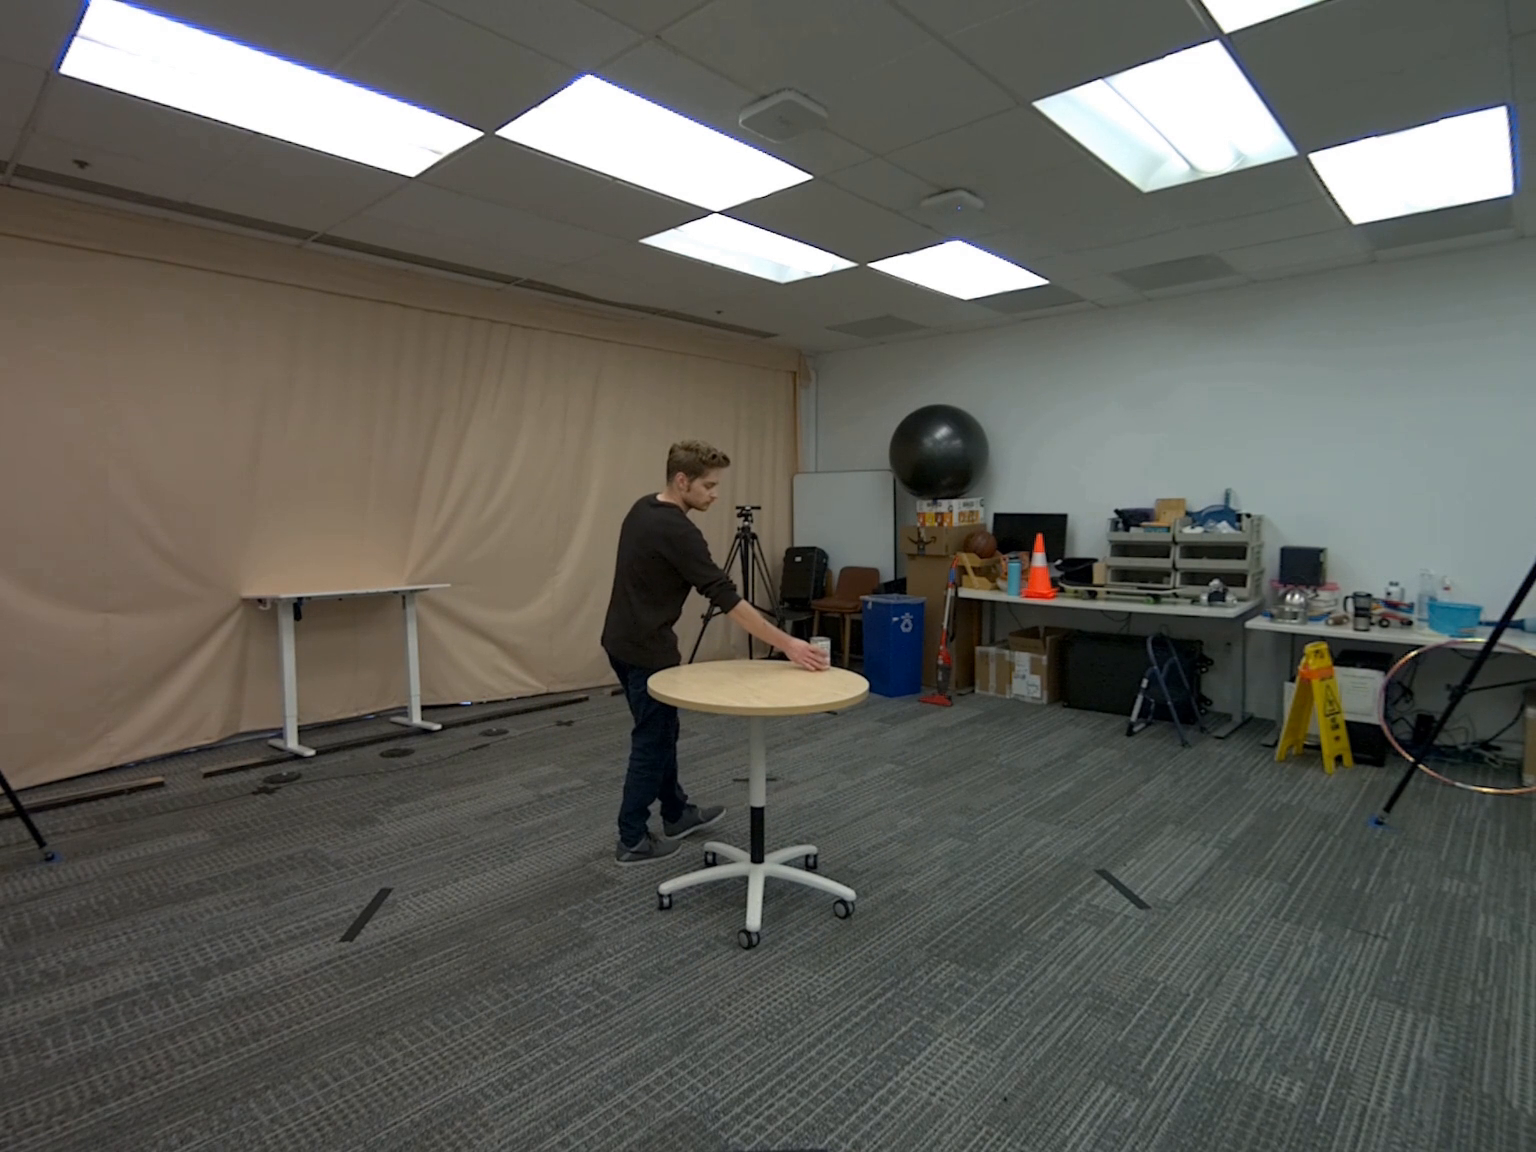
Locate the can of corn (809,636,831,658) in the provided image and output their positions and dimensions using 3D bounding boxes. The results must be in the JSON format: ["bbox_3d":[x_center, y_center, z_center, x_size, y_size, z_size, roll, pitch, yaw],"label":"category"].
[{"bbox_3d":[0.201,0.290,3.128,0.074,0.111,0.074,-1,2,-2],"label":"can of corn"}]
